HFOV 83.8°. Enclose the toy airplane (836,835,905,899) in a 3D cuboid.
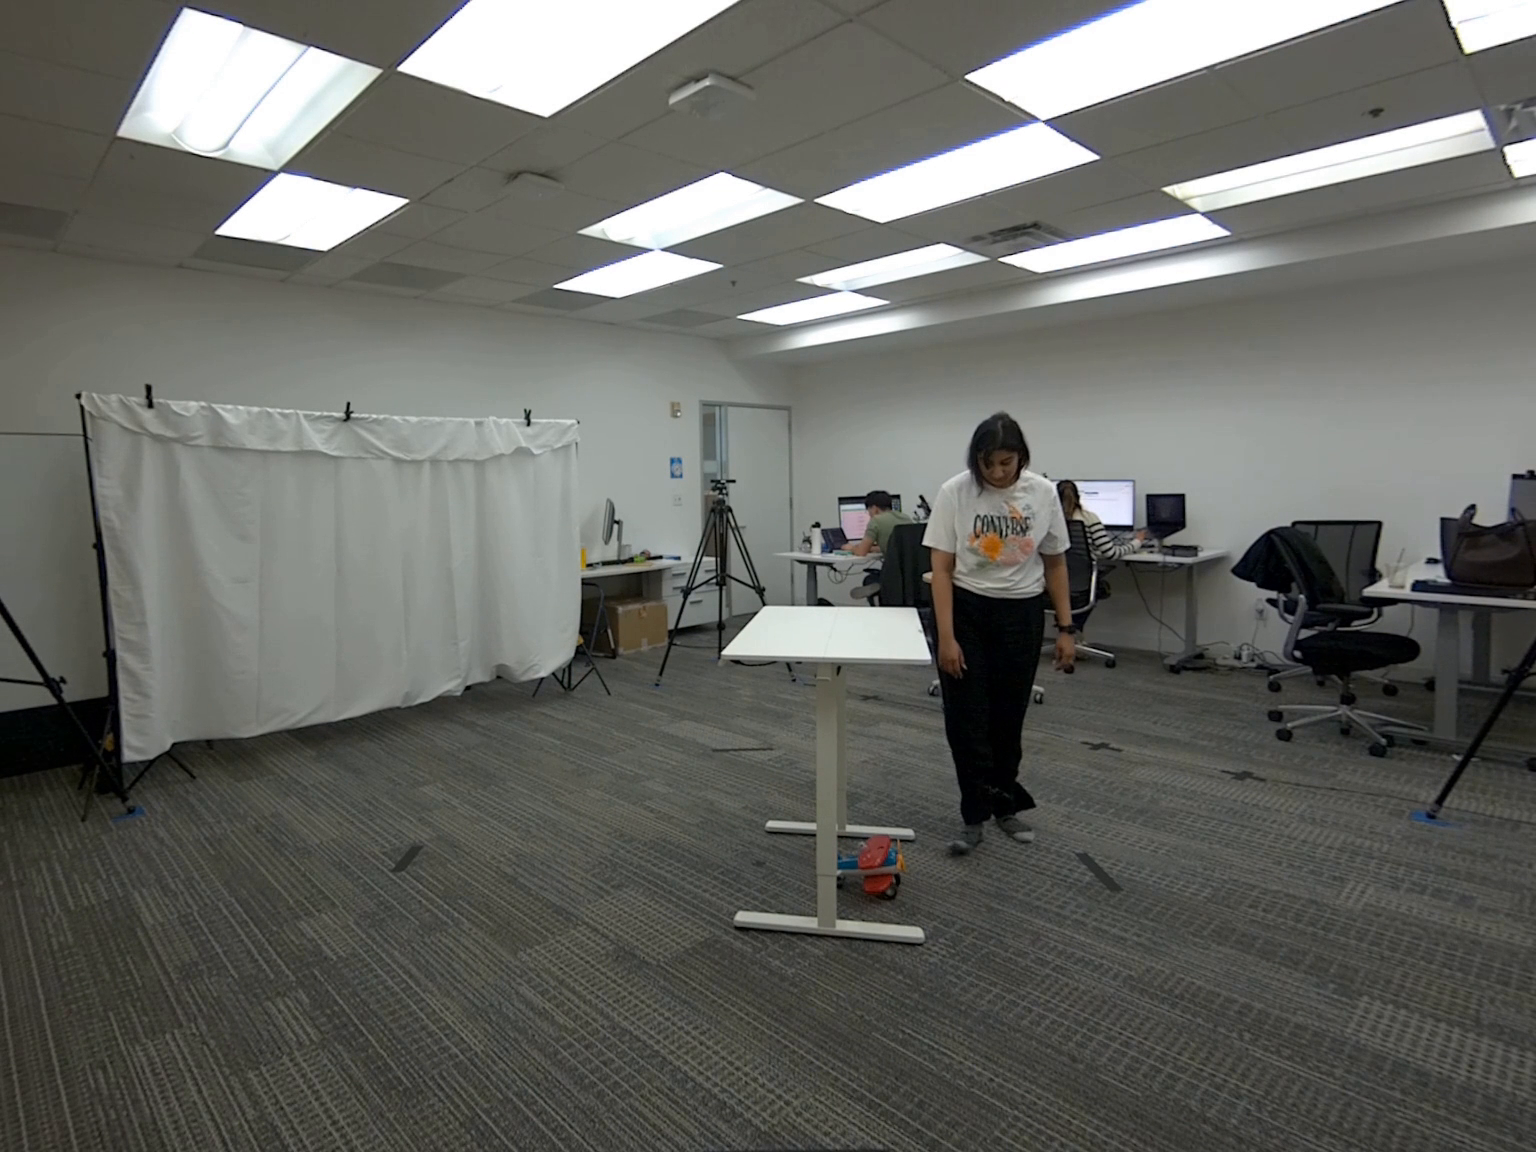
[{"bbox_3d":[0.337,0.994,2.880,0.257,0.156,0.254,-1,5,-10],"label":"toy airplane"}]
